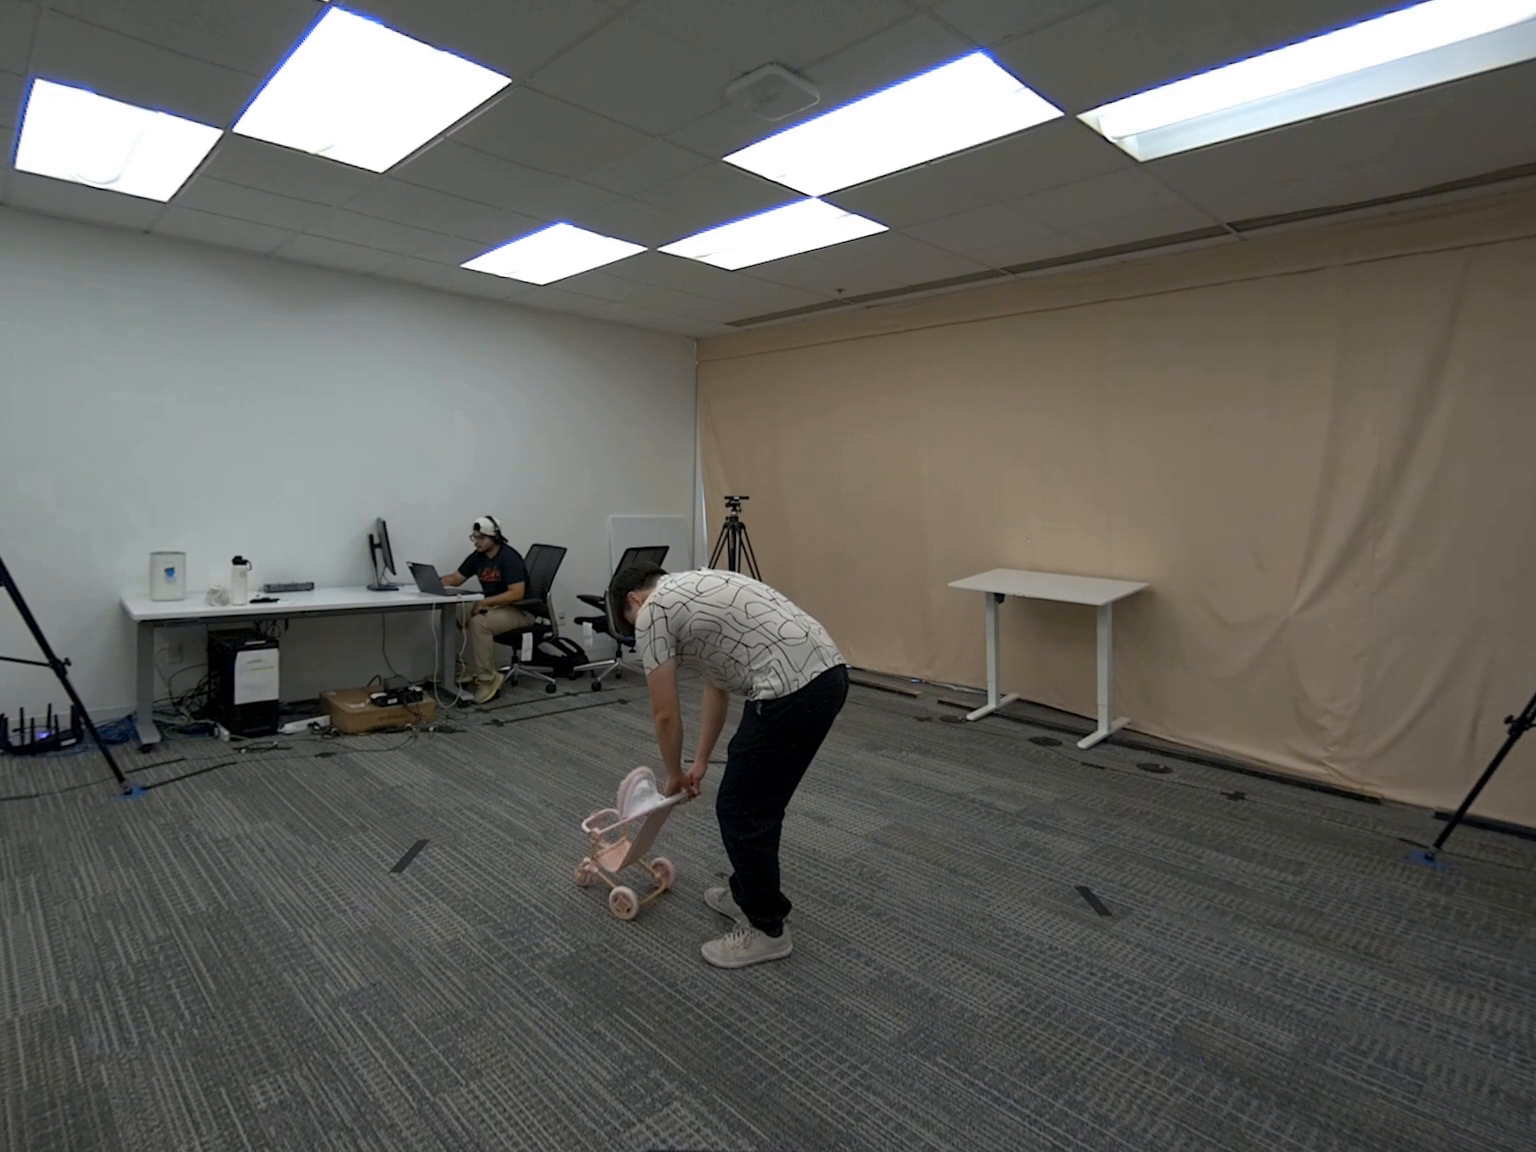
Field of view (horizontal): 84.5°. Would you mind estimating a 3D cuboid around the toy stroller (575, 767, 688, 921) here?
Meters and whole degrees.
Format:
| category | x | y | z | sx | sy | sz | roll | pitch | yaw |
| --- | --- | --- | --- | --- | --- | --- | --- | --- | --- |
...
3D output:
| category | x | y | z | sx | sy | sz | roll | pitch | yaw |
| --- | --- | --- | --- | --- | --- | --- | --- | --- | --- |
| toy stroller | -0.478 | 0.891 | 2.895 | 0.350 | 0.532 | 0.276 | 23 | 14 | 29 |
